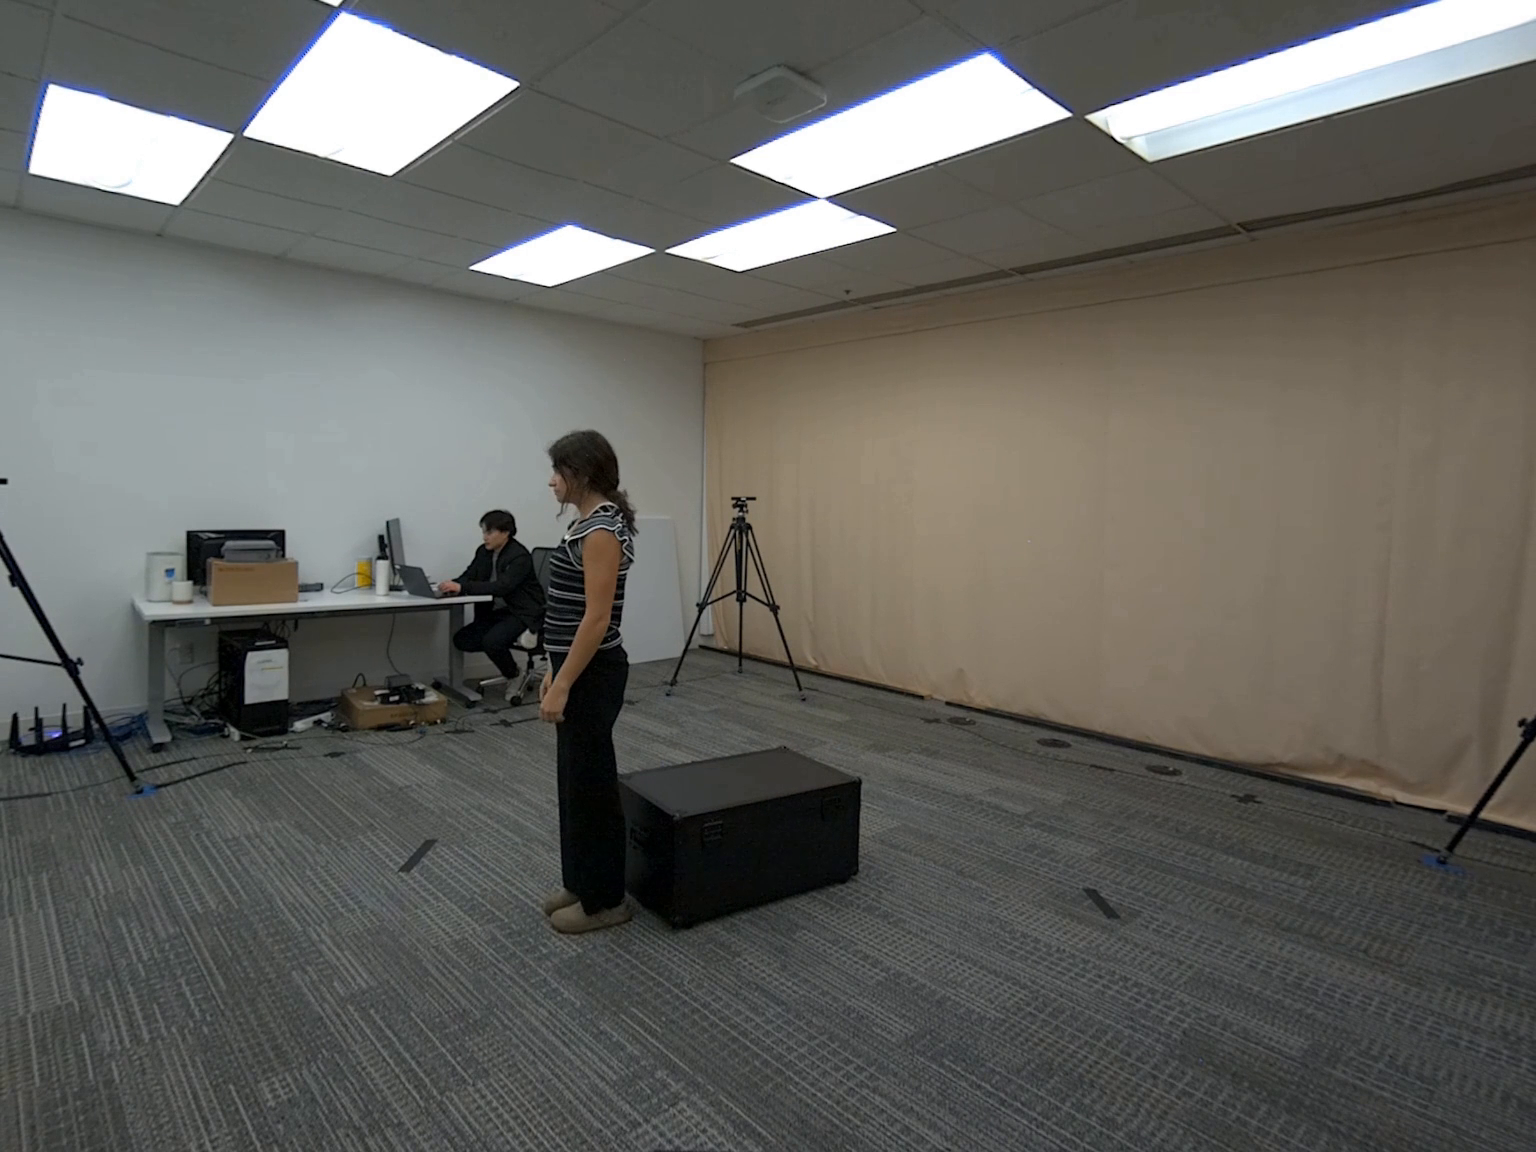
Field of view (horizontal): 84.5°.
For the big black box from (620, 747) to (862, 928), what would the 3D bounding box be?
[{"bbox_3d":[-0.094,0.920,3.086,0.843,0.395,0.534,-3,6,-34],"label":"big black box"}]
